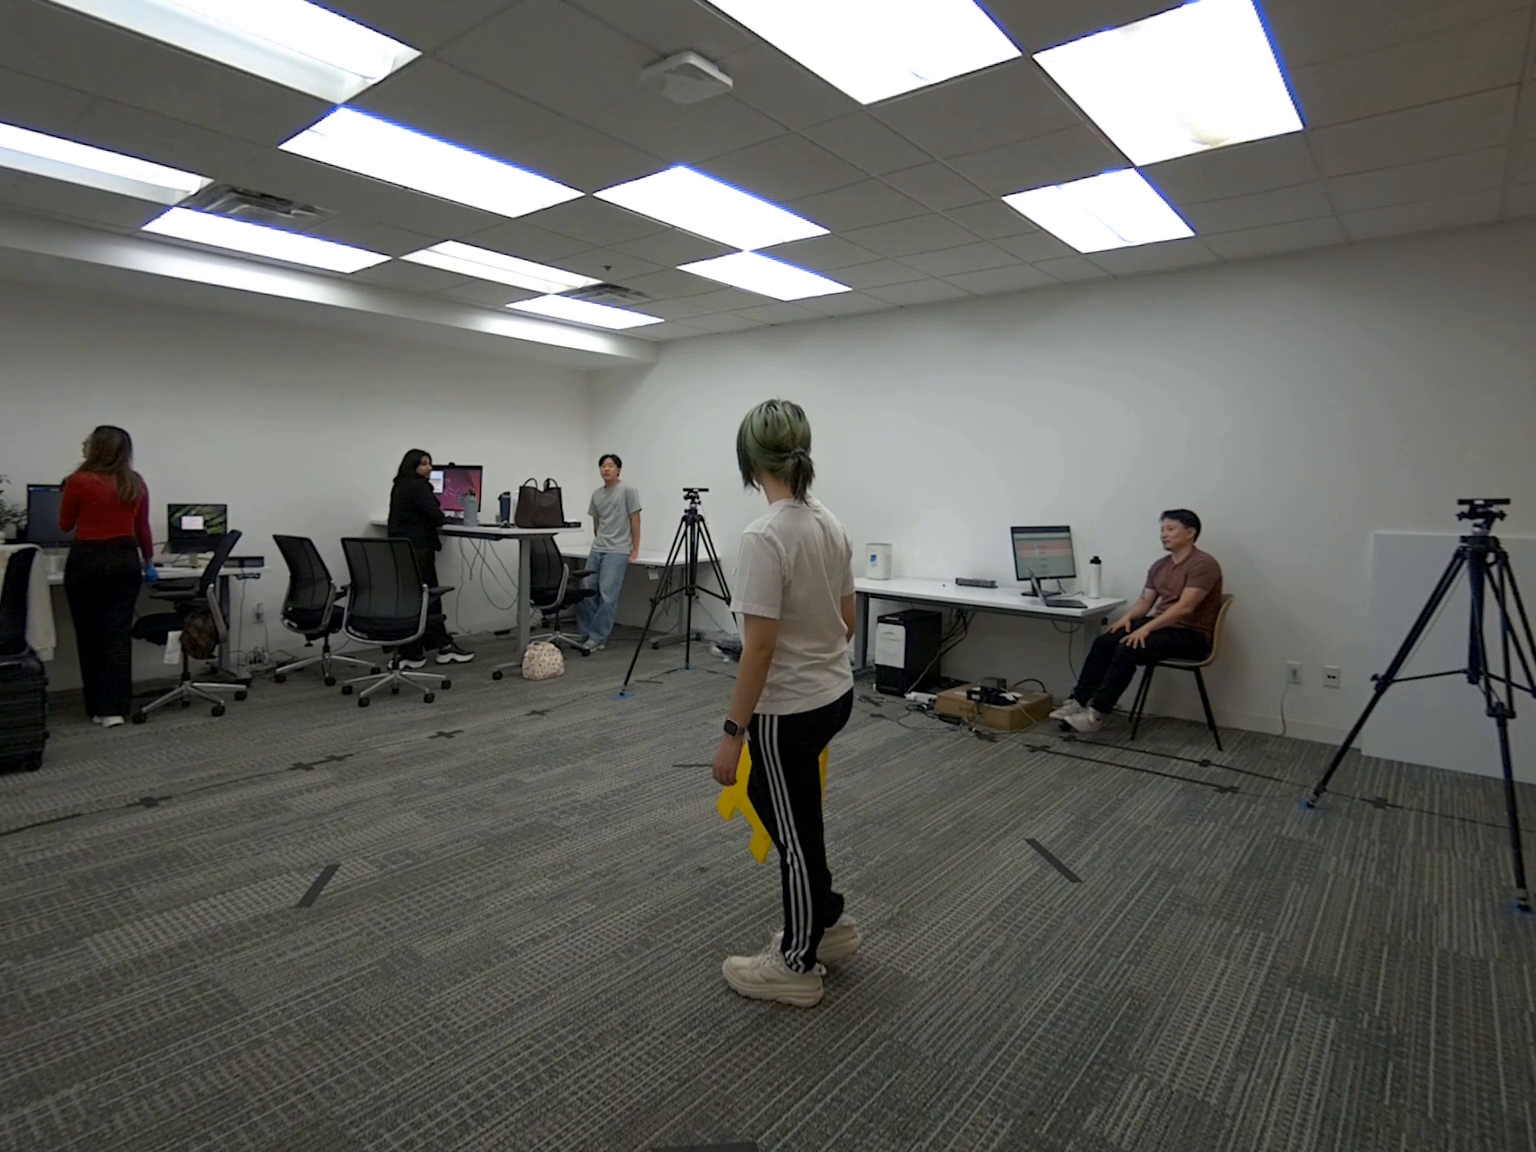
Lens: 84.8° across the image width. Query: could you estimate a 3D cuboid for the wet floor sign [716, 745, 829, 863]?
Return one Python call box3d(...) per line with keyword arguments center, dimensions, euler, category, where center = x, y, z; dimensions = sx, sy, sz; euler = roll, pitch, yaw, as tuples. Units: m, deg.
box3d(center=(0.053, 0.561, 2.765), dimensions=(0.282, 0.636, 0.294), euler=(-5, 29, -36), category="wet floor sign")
